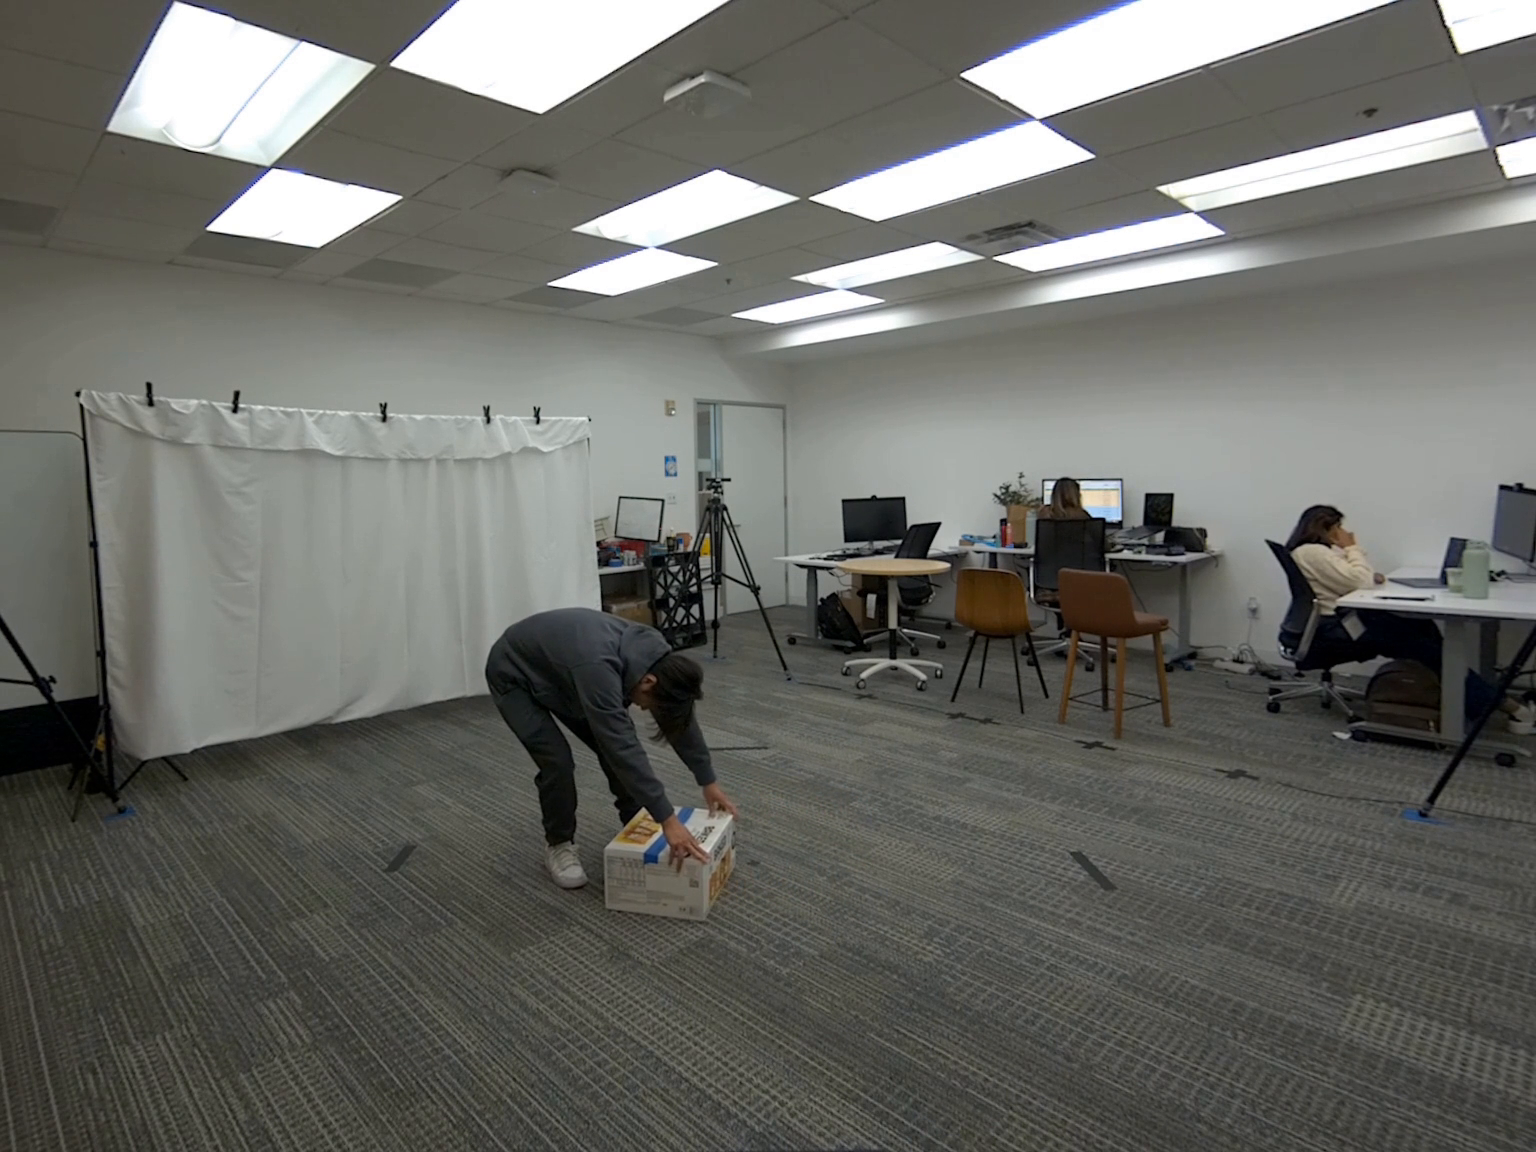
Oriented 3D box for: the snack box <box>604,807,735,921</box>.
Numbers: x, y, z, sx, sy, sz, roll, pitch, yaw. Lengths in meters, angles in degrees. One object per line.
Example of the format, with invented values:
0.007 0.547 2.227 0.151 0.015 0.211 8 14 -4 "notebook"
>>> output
-0.320 0.968 2.927 0.345 0.205 0.401 0 6 14 "snack box"
